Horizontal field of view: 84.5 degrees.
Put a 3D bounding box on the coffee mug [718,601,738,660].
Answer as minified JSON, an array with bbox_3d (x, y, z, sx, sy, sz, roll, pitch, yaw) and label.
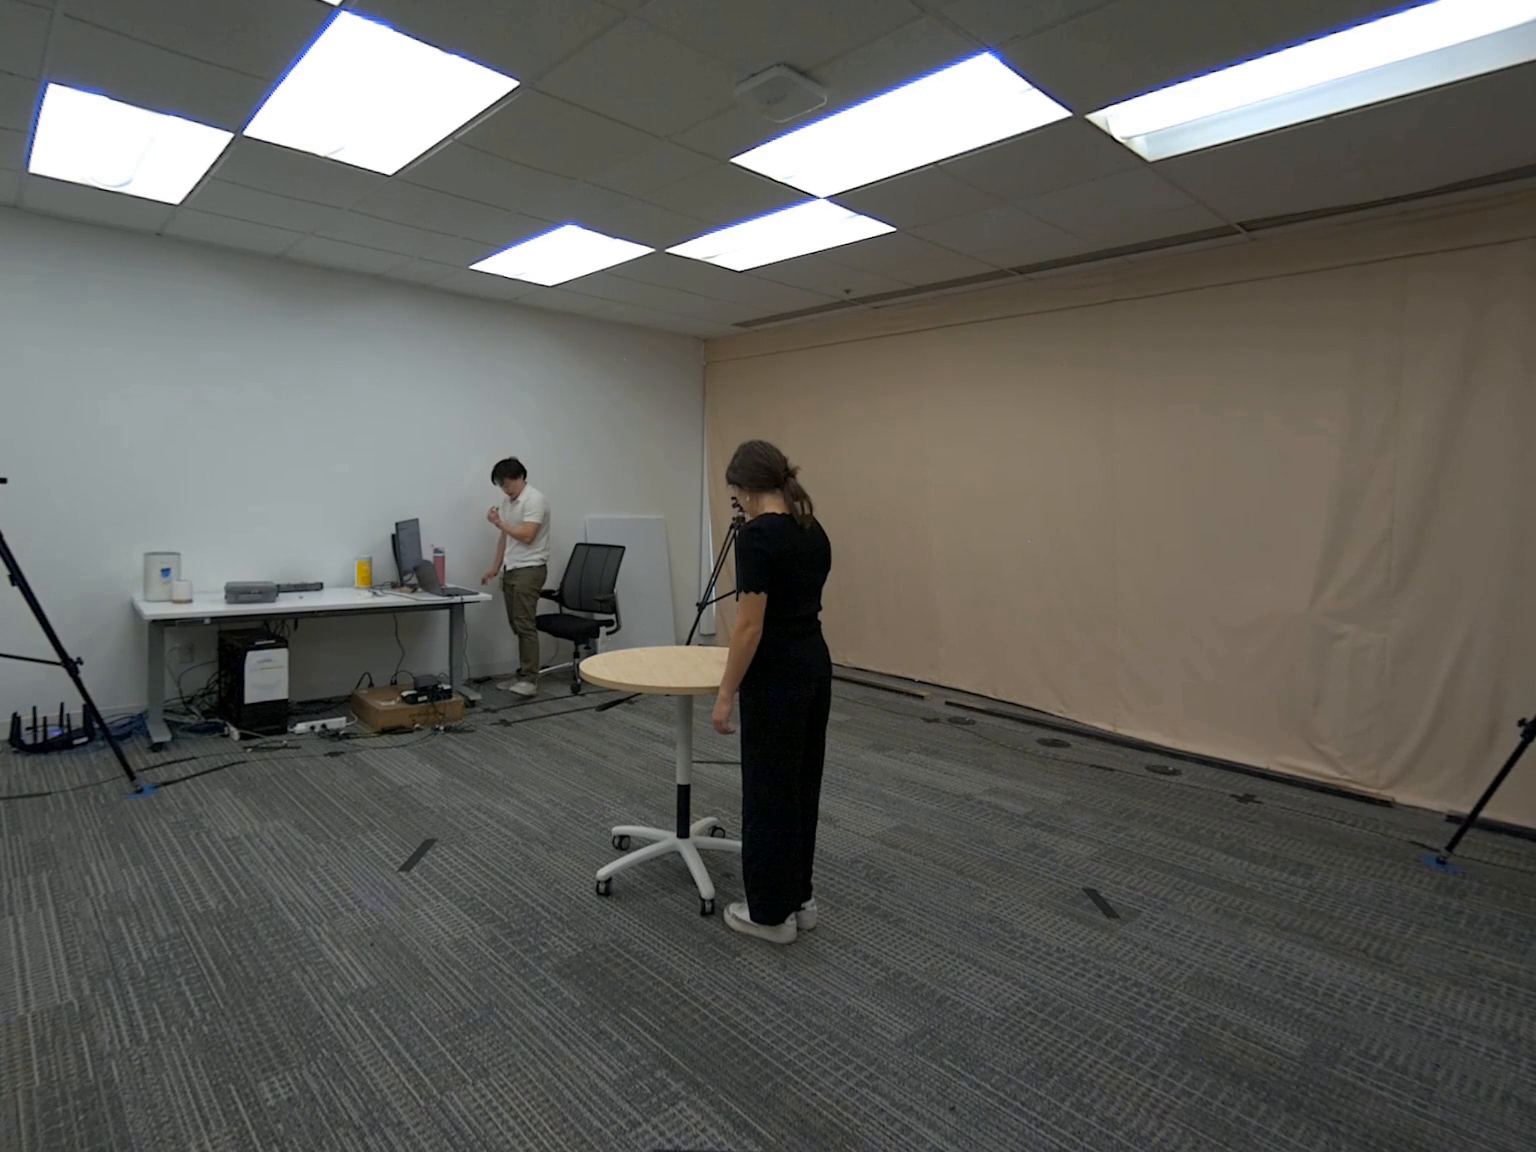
[{"bbox_3d":[-0.096,0.200,3.076,0.090,0.203,0.119,7,0,43],"label":"coffee mug"}]
